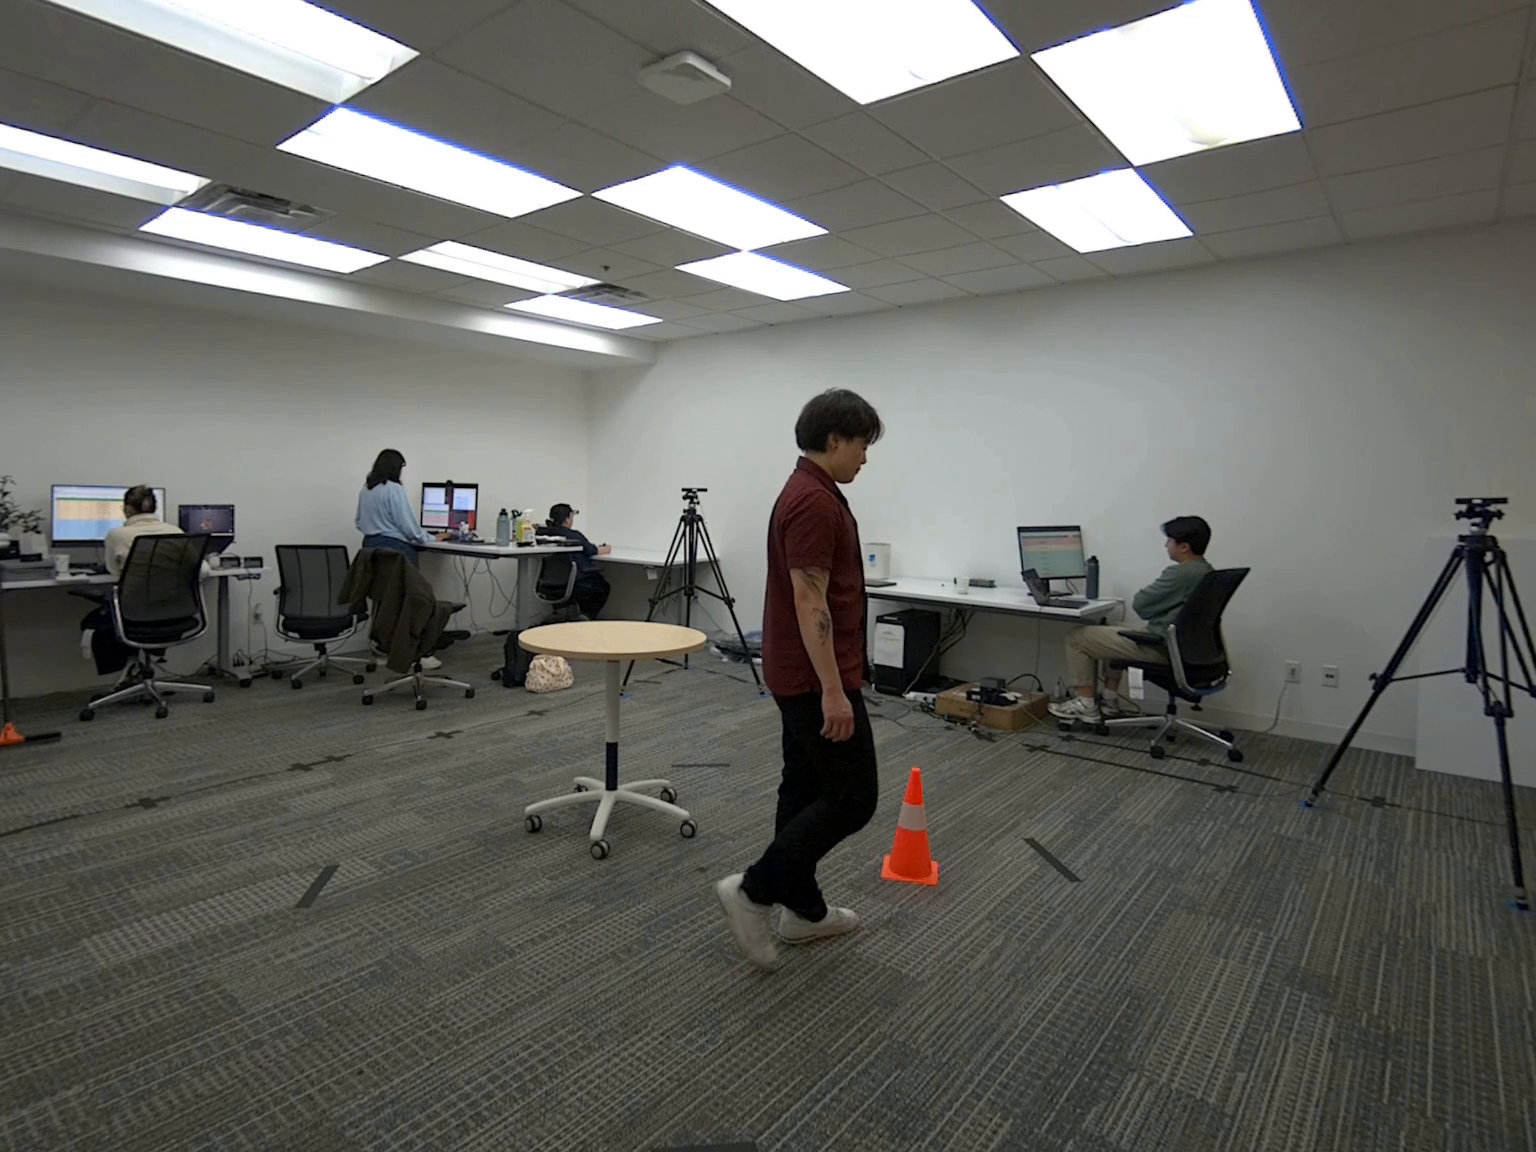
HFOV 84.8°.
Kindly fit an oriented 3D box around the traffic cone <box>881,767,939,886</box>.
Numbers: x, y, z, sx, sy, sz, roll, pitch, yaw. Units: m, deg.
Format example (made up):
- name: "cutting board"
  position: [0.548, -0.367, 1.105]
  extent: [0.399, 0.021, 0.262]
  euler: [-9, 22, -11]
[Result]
- name: "traffic cone"
  position: [0.530, 0.895, 3.136]
  extent: [0.207, 0.382, 0.201]
  euler: [4, 4, 18]
